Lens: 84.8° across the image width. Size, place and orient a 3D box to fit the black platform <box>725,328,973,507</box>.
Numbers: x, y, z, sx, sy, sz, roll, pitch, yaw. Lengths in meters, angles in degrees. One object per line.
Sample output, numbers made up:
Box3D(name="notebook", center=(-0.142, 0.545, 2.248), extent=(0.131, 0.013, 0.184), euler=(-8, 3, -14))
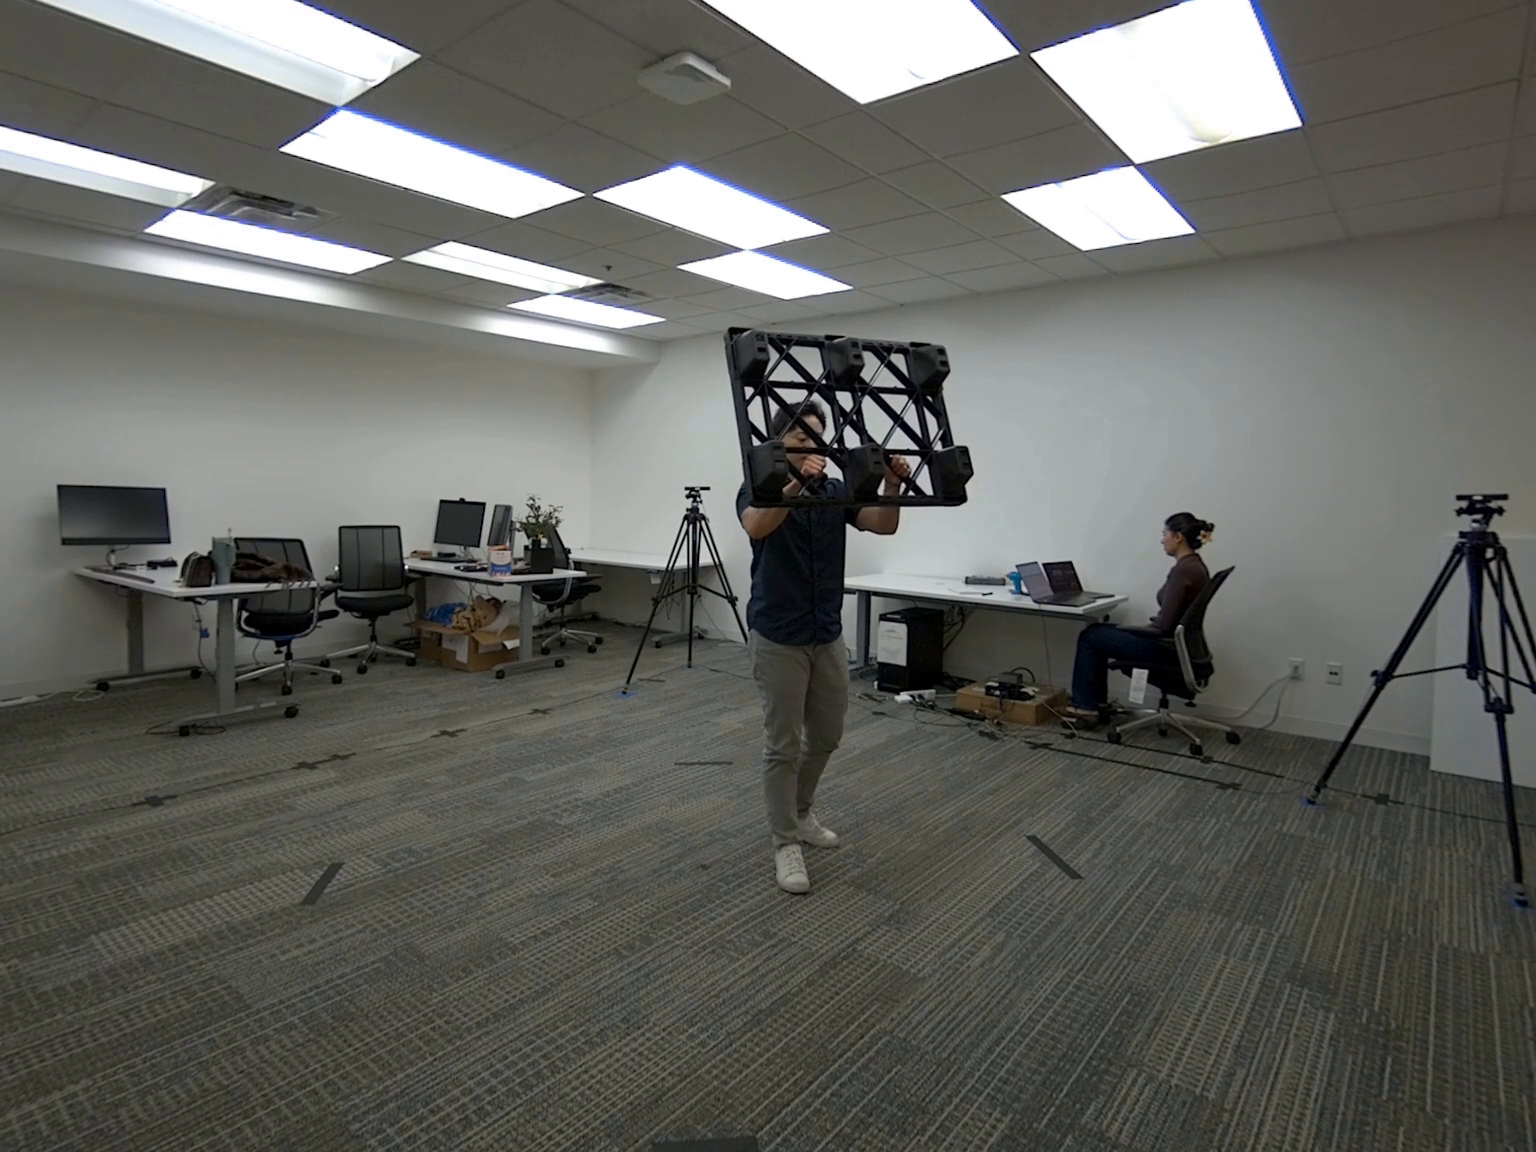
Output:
Box3D(name="black platform", center=(0.277, -0.529, 2.751), extent=(0.788, 0.614, 0.144), euler=(-3, -15, -23))
